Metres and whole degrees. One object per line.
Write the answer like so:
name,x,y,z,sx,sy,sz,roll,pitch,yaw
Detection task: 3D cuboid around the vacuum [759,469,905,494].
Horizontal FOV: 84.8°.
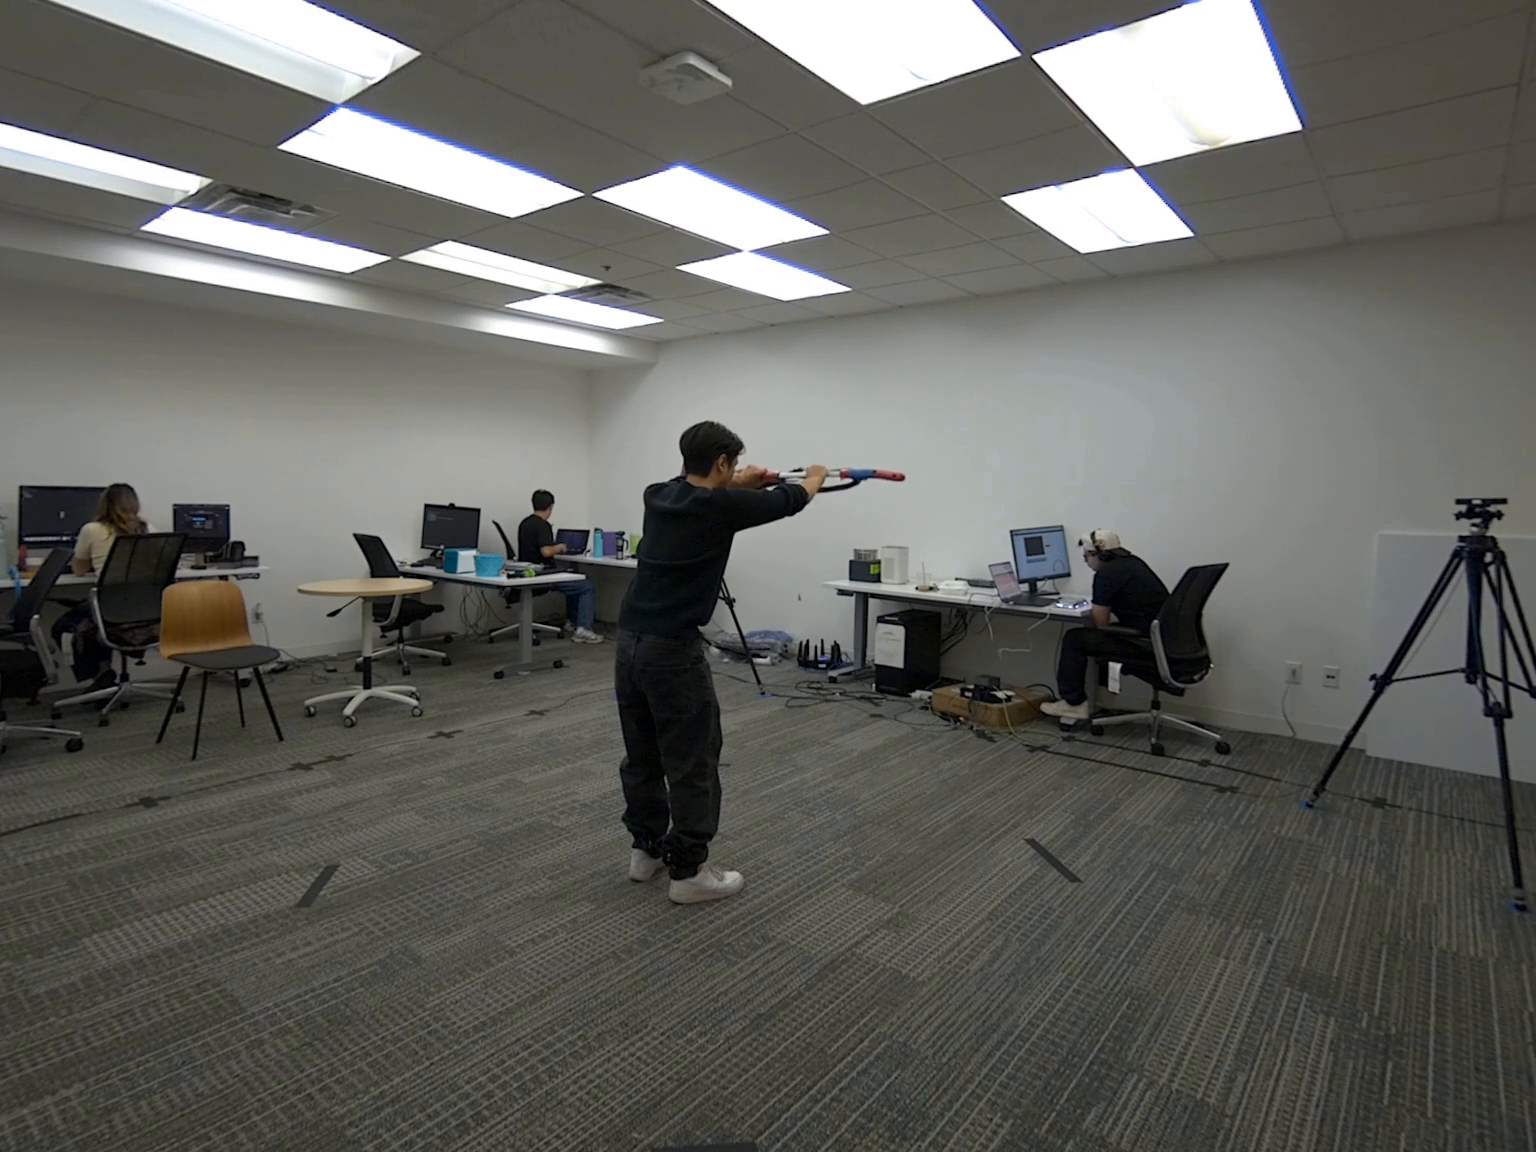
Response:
vacuum,0.056,-0.380,3.386,1.085,0.254,0.138,5,-14,43
